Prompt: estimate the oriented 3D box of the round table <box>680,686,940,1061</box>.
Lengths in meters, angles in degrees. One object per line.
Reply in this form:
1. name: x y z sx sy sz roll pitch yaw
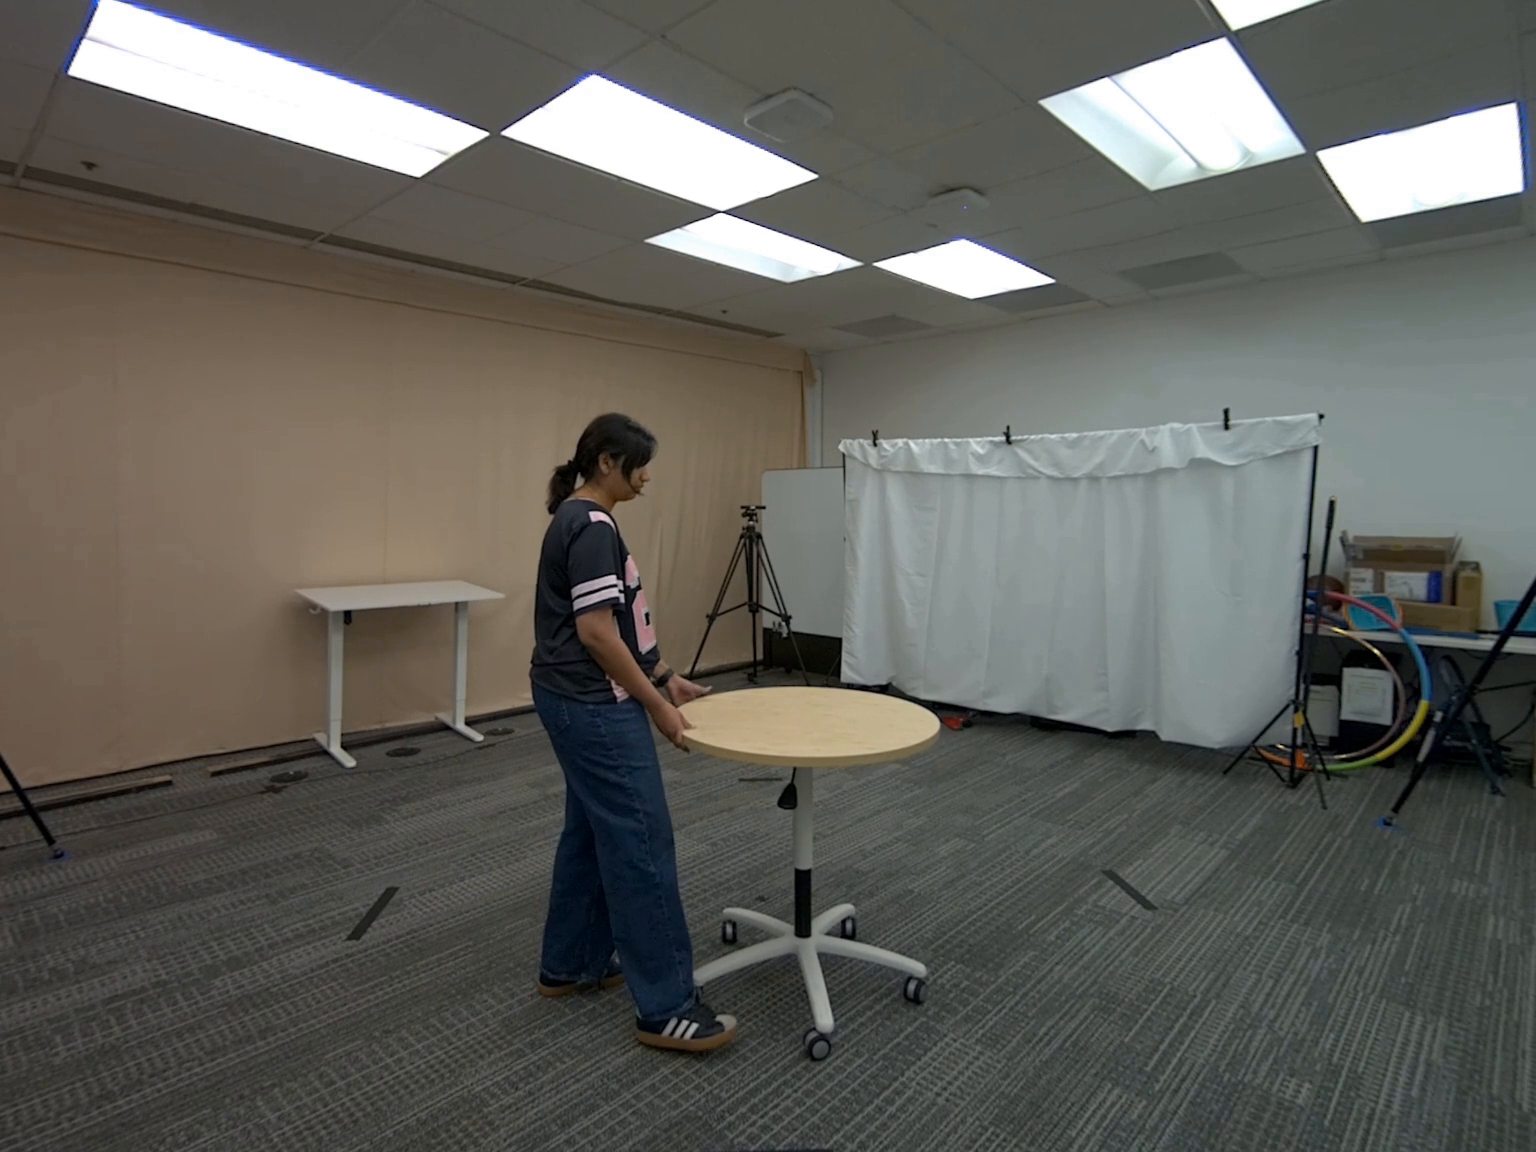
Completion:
1. round table: 0.121 0.796 2.452 0.784 0.784 0.788 -1 4 -2
